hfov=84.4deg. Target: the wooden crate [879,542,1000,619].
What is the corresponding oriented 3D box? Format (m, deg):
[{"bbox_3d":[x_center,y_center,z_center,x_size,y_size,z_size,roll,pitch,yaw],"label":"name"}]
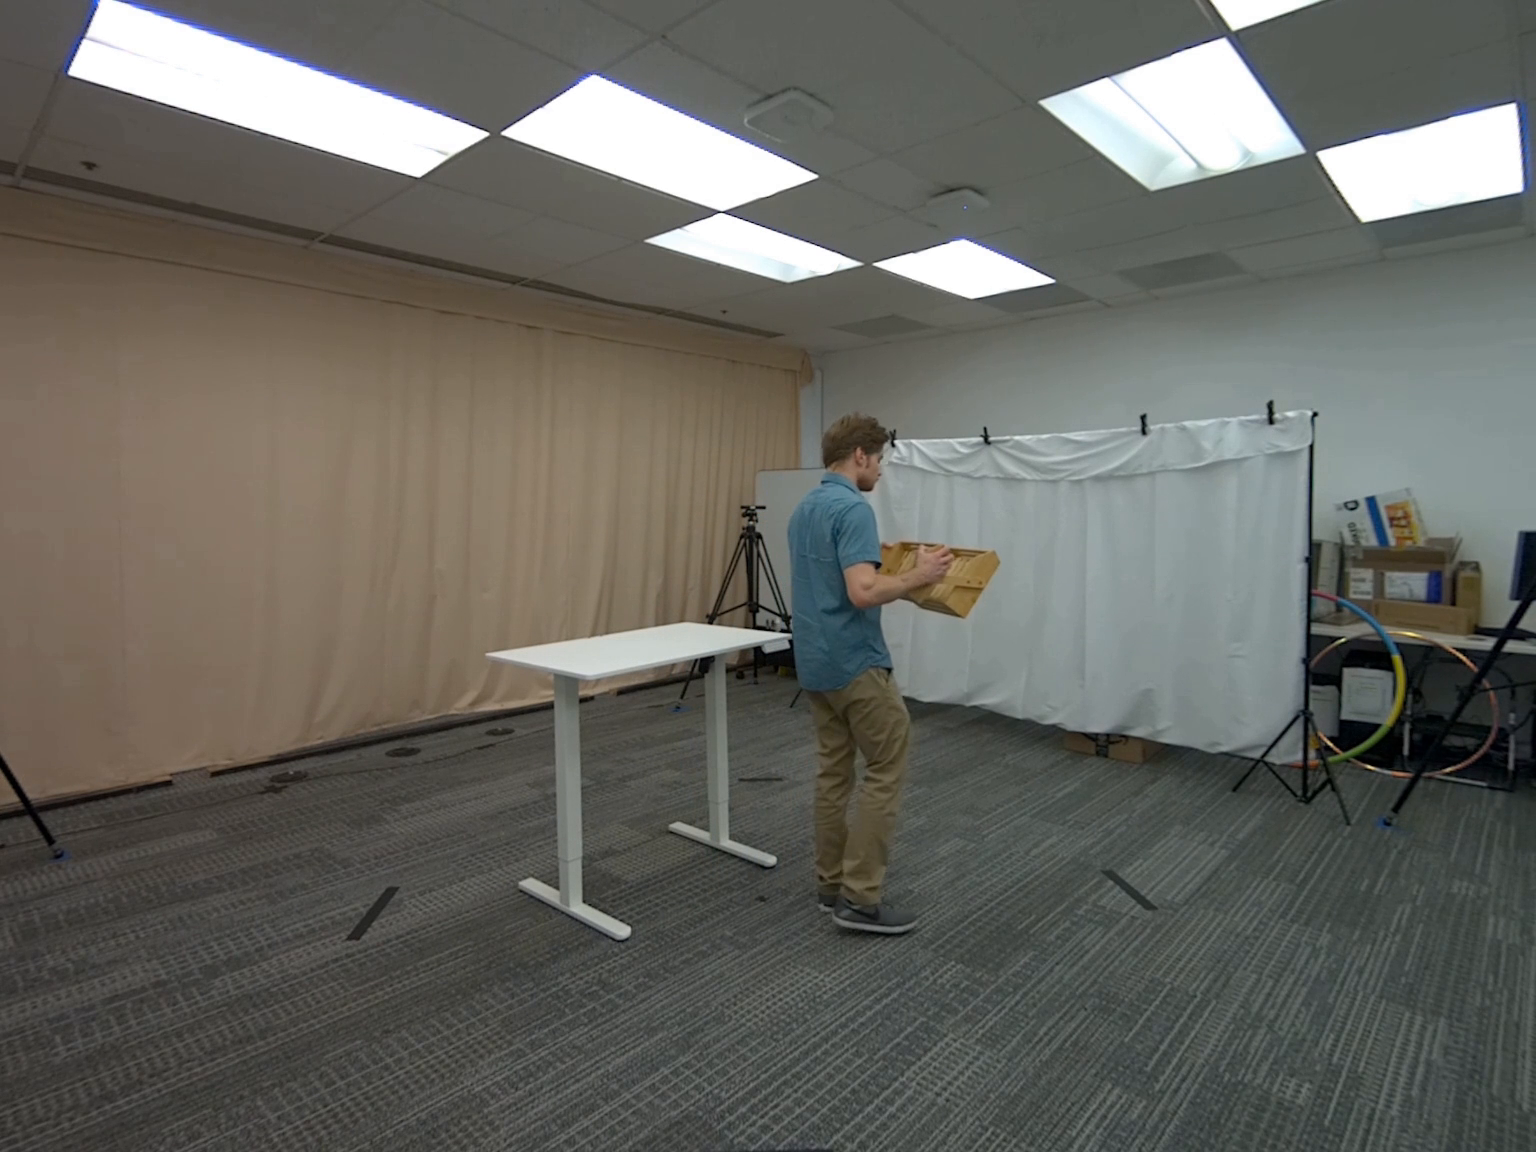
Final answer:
[{"bbox_3d":[0.567,-0.018,2.930,0.269,0.302,0.330,35,-4,-13],"label":"wooden crate"}]
